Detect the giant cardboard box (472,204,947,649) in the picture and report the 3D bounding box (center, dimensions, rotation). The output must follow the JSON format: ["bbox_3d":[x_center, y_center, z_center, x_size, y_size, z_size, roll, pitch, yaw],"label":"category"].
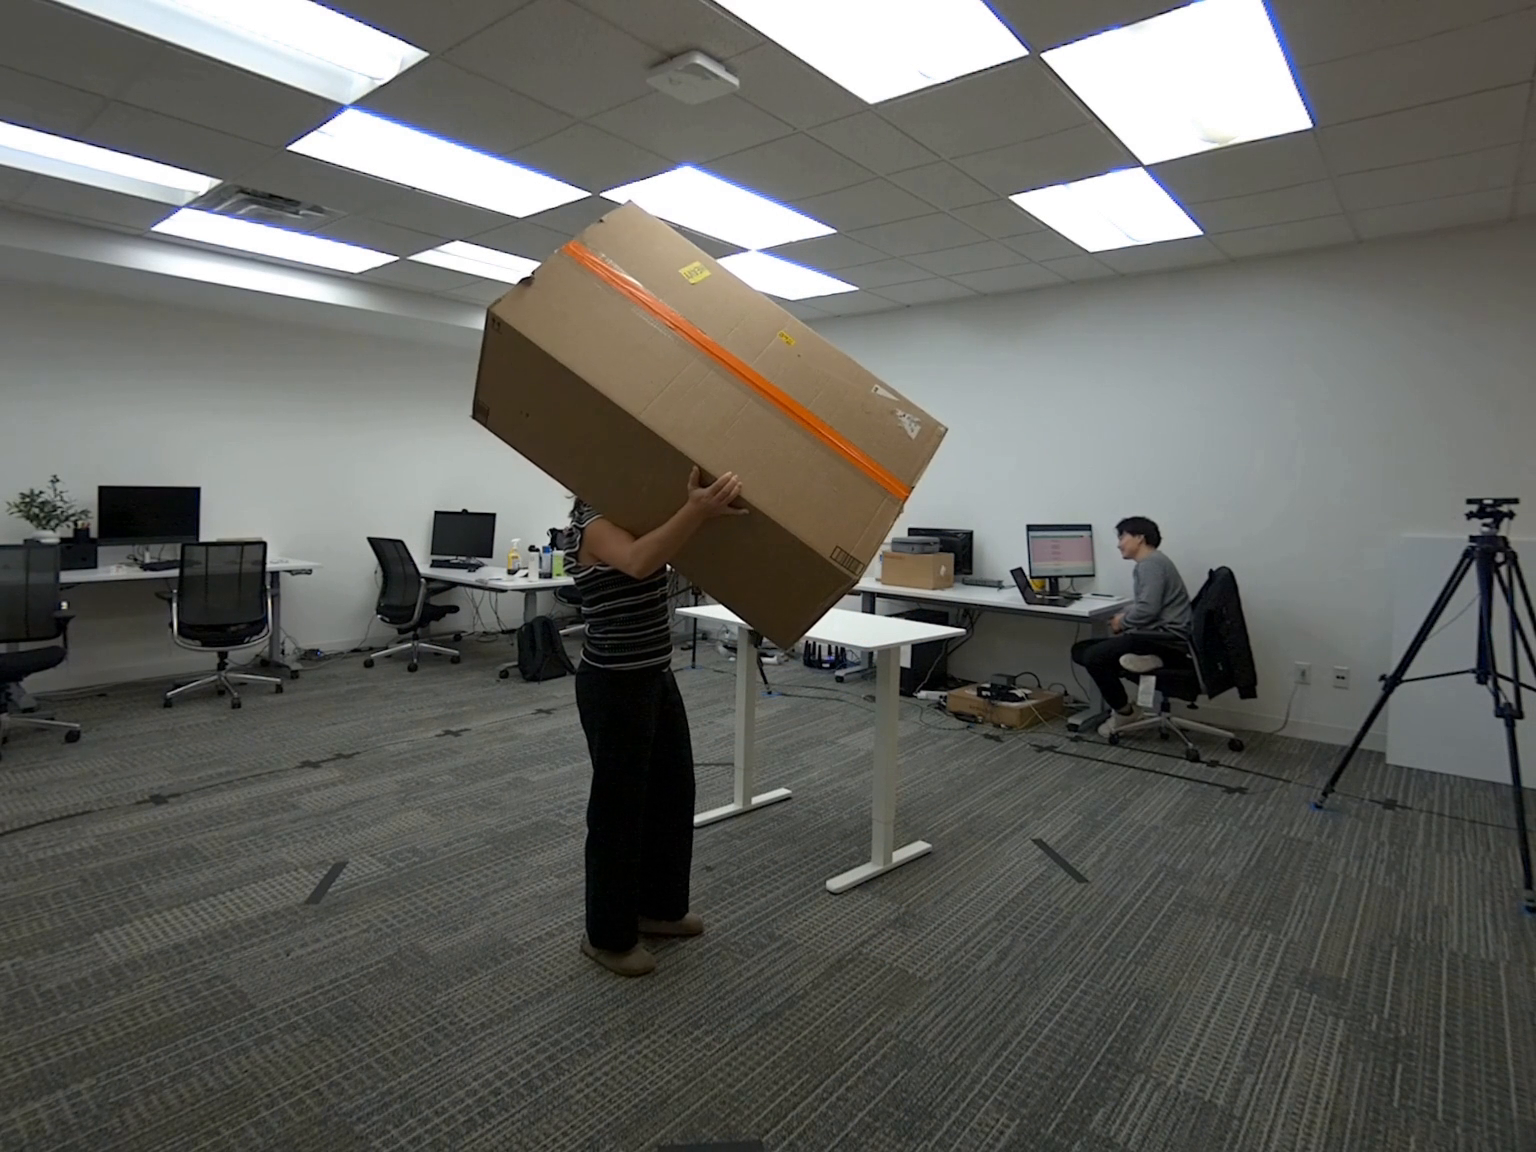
[{"bbox_3d":[-0.165,-0.386,2.190,1.029,0.579,0.423,36,-35,2],"label":"giant cardboard box"}]
